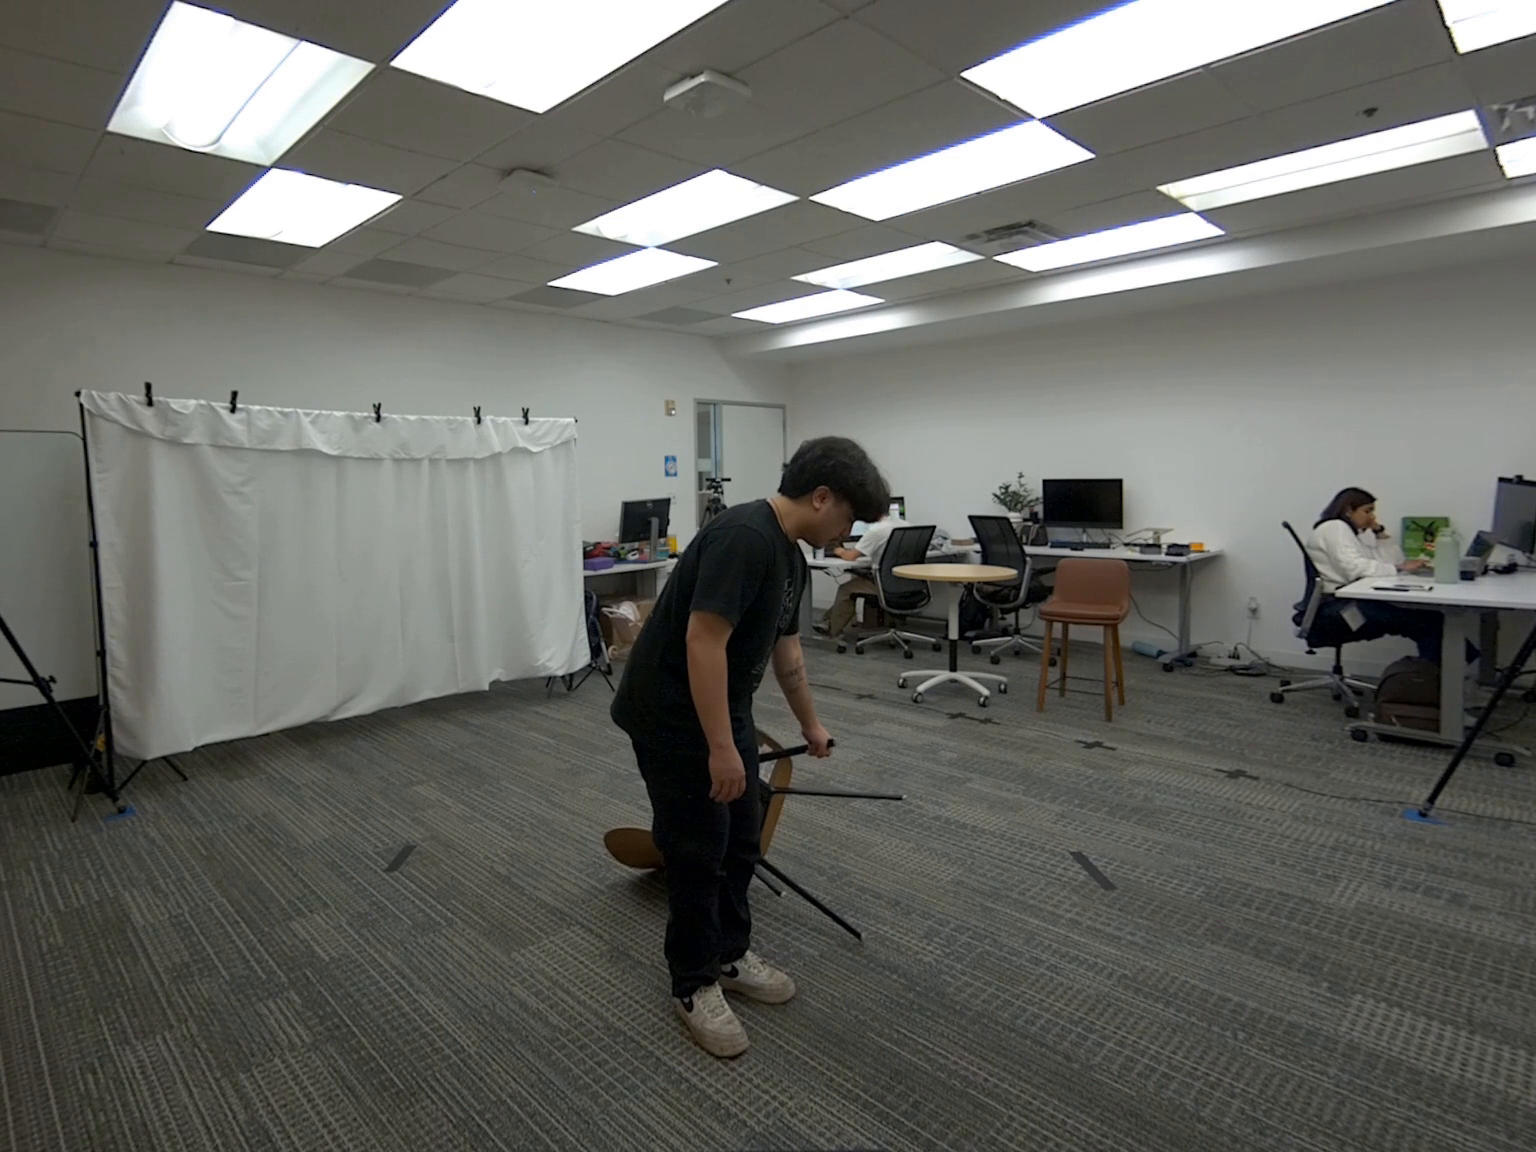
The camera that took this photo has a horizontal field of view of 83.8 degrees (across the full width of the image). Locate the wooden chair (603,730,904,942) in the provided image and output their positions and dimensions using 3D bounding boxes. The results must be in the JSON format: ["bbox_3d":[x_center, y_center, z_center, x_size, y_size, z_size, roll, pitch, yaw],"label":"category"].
[{"bbox_3d":[-0.075,0.776,2.811,0.901,0.529,0.460,-4,-35,41],"label":"wooden chair"}]
